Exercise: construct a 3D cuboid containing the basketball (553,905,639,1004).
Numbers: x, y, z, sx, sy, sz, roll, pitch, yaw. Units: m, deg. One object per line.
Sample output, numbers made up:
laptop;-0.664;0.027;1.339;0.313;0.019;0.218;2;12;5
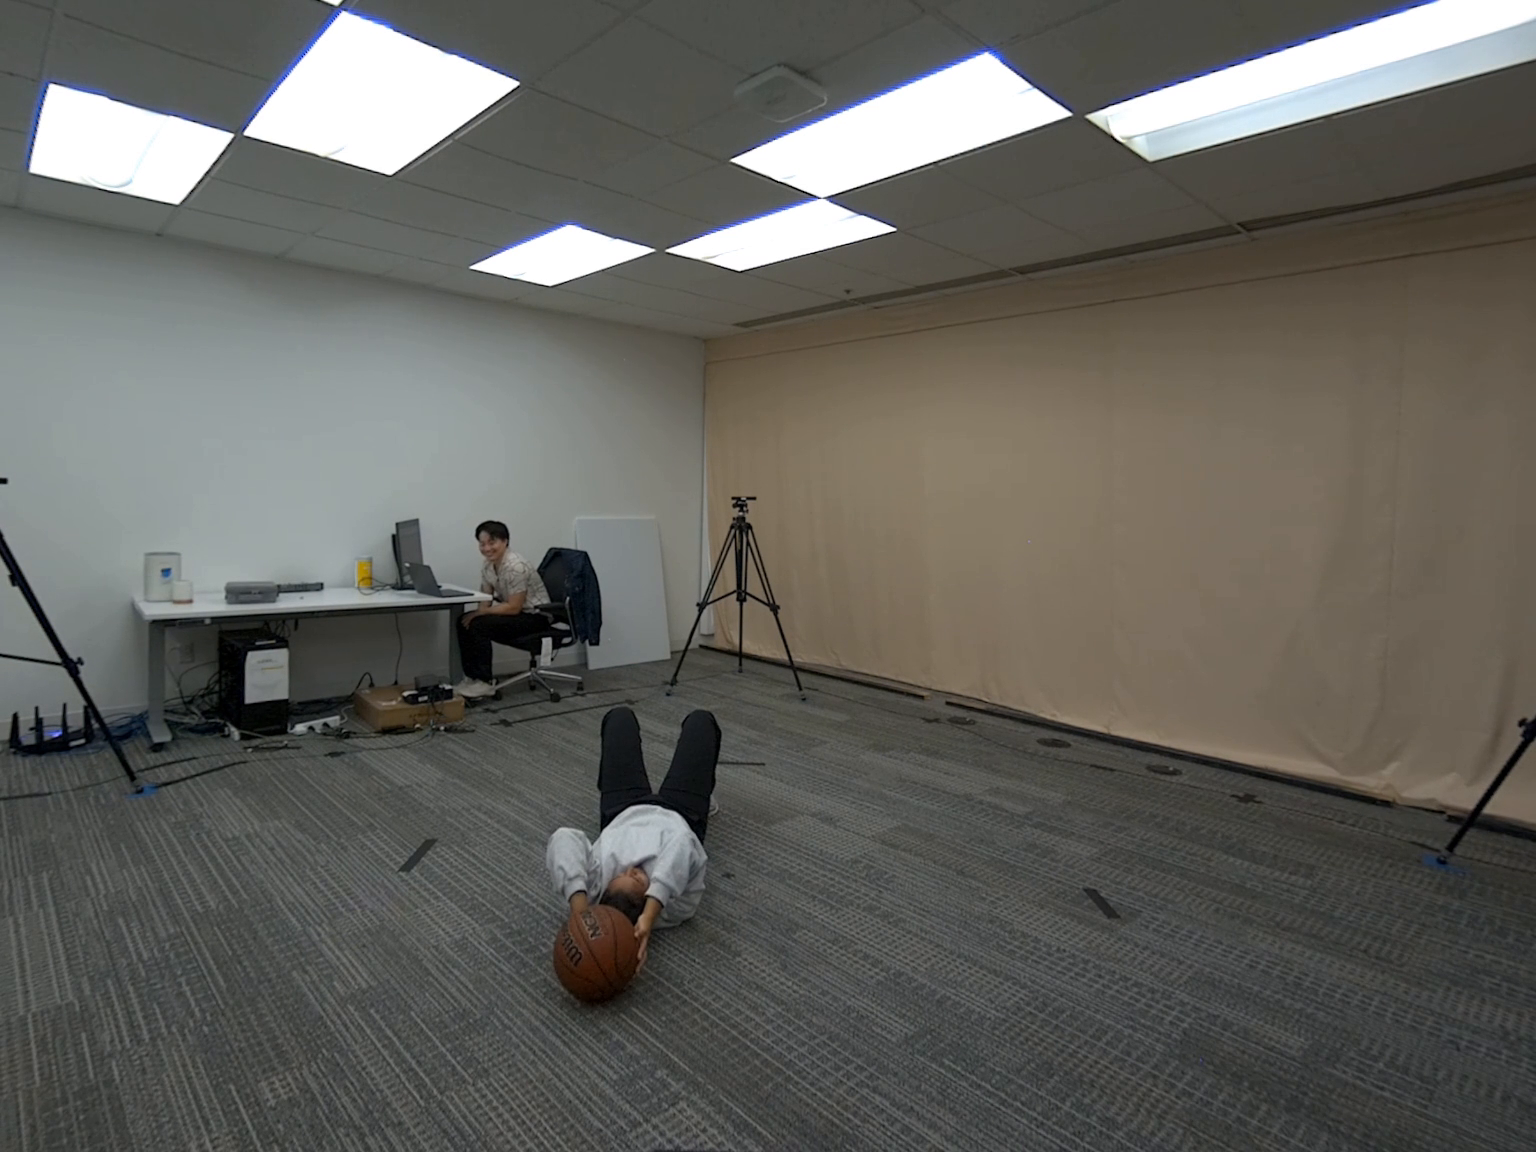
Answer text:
basketball;-0.478;1.047;2.353;0.236;0.235;0.237;1;4;-1
